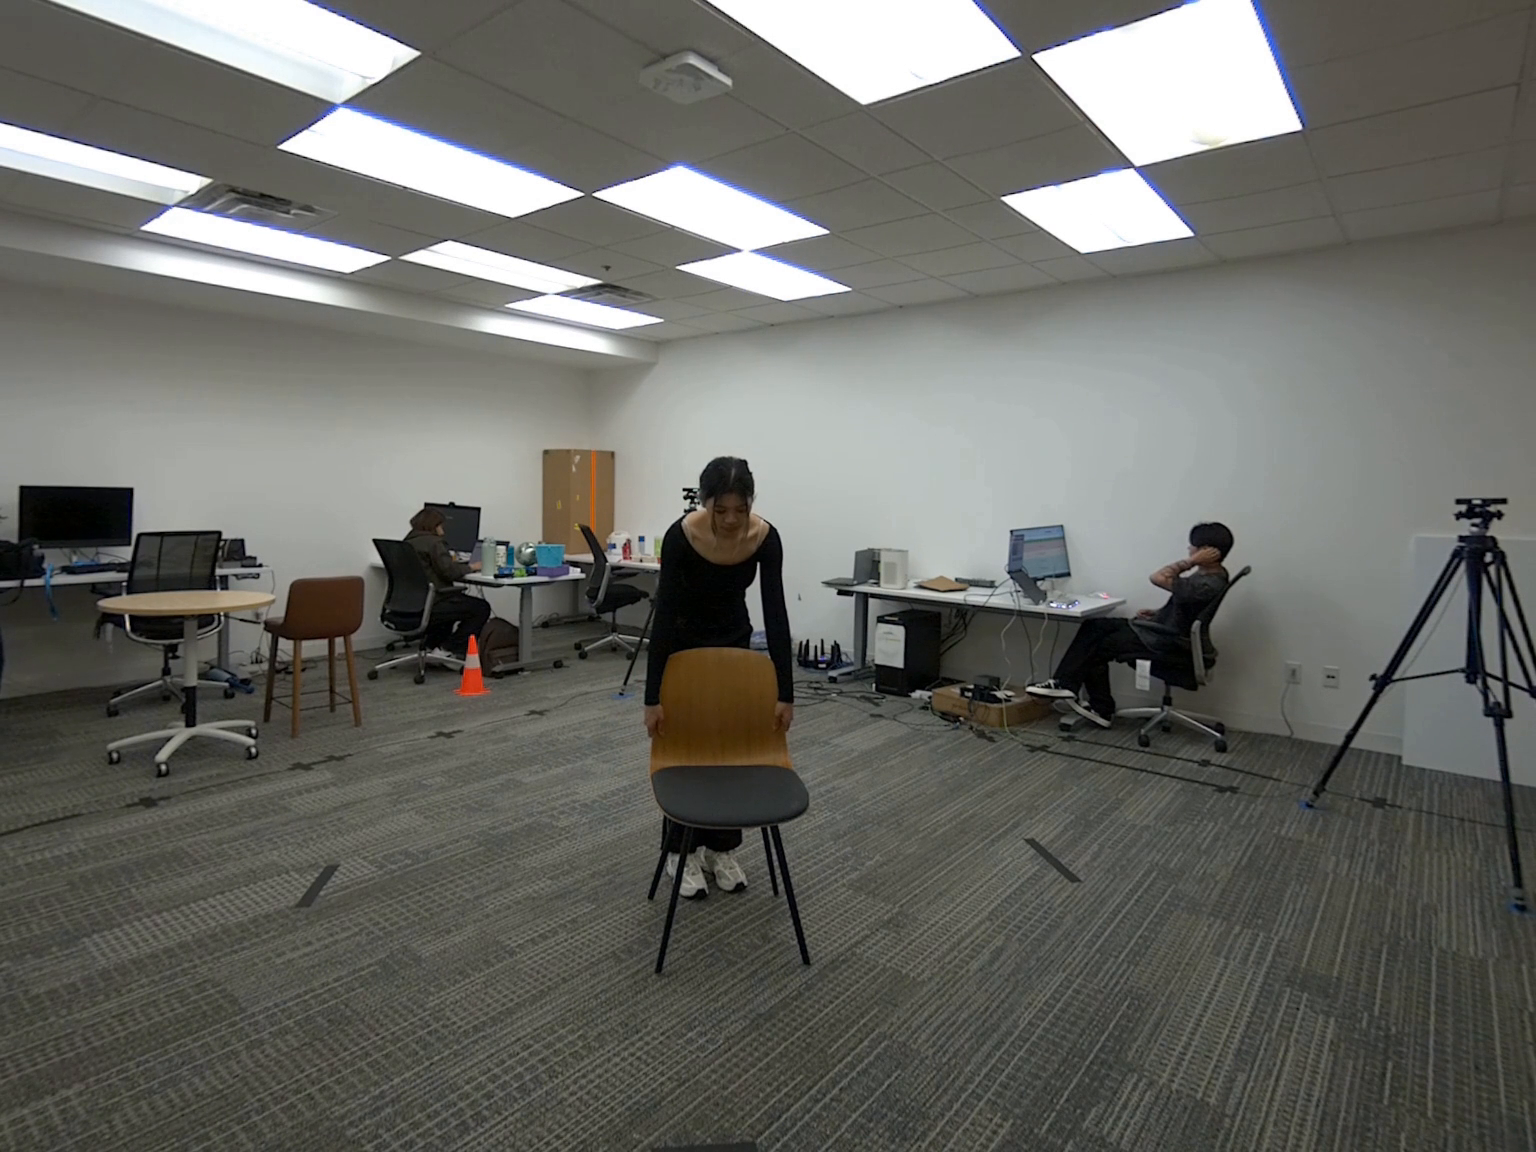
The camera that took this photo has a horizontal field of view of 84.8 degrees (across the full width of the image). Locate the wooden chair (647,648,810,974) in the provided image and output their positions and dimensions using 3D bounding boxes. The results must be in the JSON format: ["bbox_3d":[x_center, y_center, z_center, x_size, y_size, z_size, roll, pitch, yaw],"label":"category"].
[{"bbox_3d":[-0.131,0.686,2.647,0.473,0.878,0.528,1,-1,-10],"label":"wooden chair"}]
